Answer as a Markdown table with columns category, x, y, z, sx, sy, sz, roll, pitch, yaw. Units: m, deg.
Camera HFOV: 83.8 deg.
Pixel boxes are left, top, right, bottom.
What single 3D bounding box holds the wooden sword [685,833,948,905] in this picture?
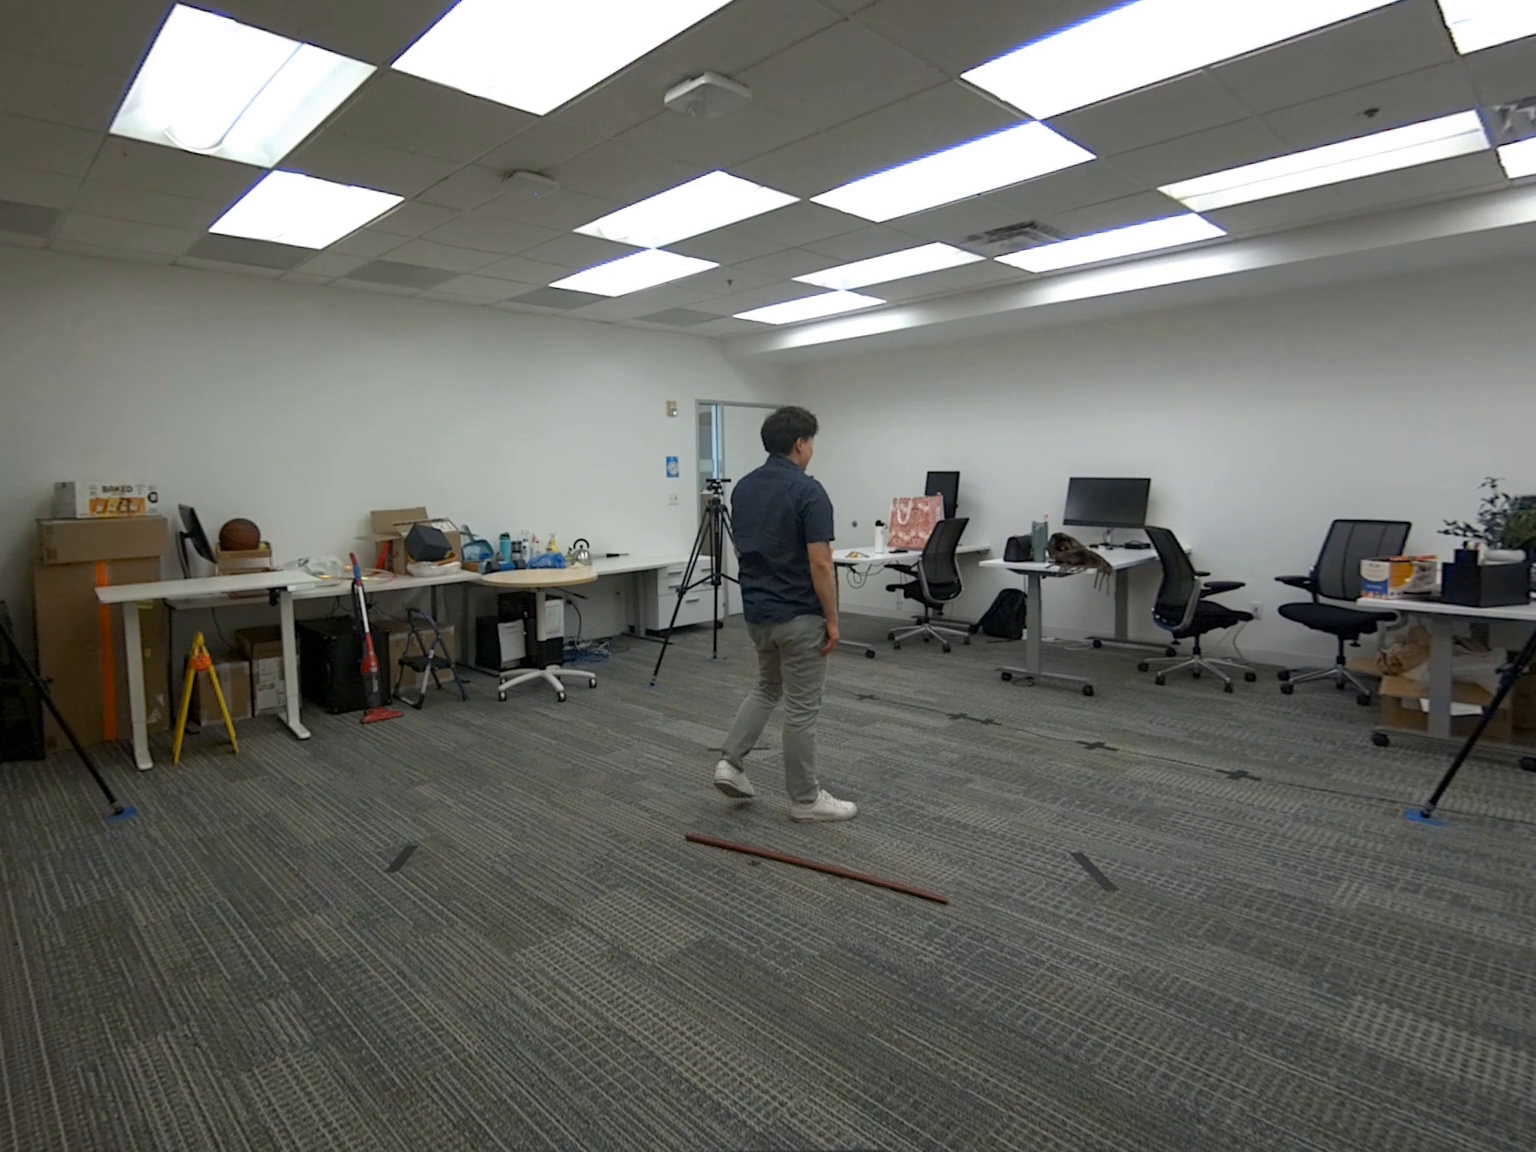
| category | x | y | z | sx | sy | sz | roll | pitch | yaw |
| --- | --- | --- | --- | --- | --- | --- | --- | --- | --- |
| wooden sword | 0.134 | 1.023 | 3.061 | 1.052 | 0.024 | 0.049 | 3 | -14 | 31 |
